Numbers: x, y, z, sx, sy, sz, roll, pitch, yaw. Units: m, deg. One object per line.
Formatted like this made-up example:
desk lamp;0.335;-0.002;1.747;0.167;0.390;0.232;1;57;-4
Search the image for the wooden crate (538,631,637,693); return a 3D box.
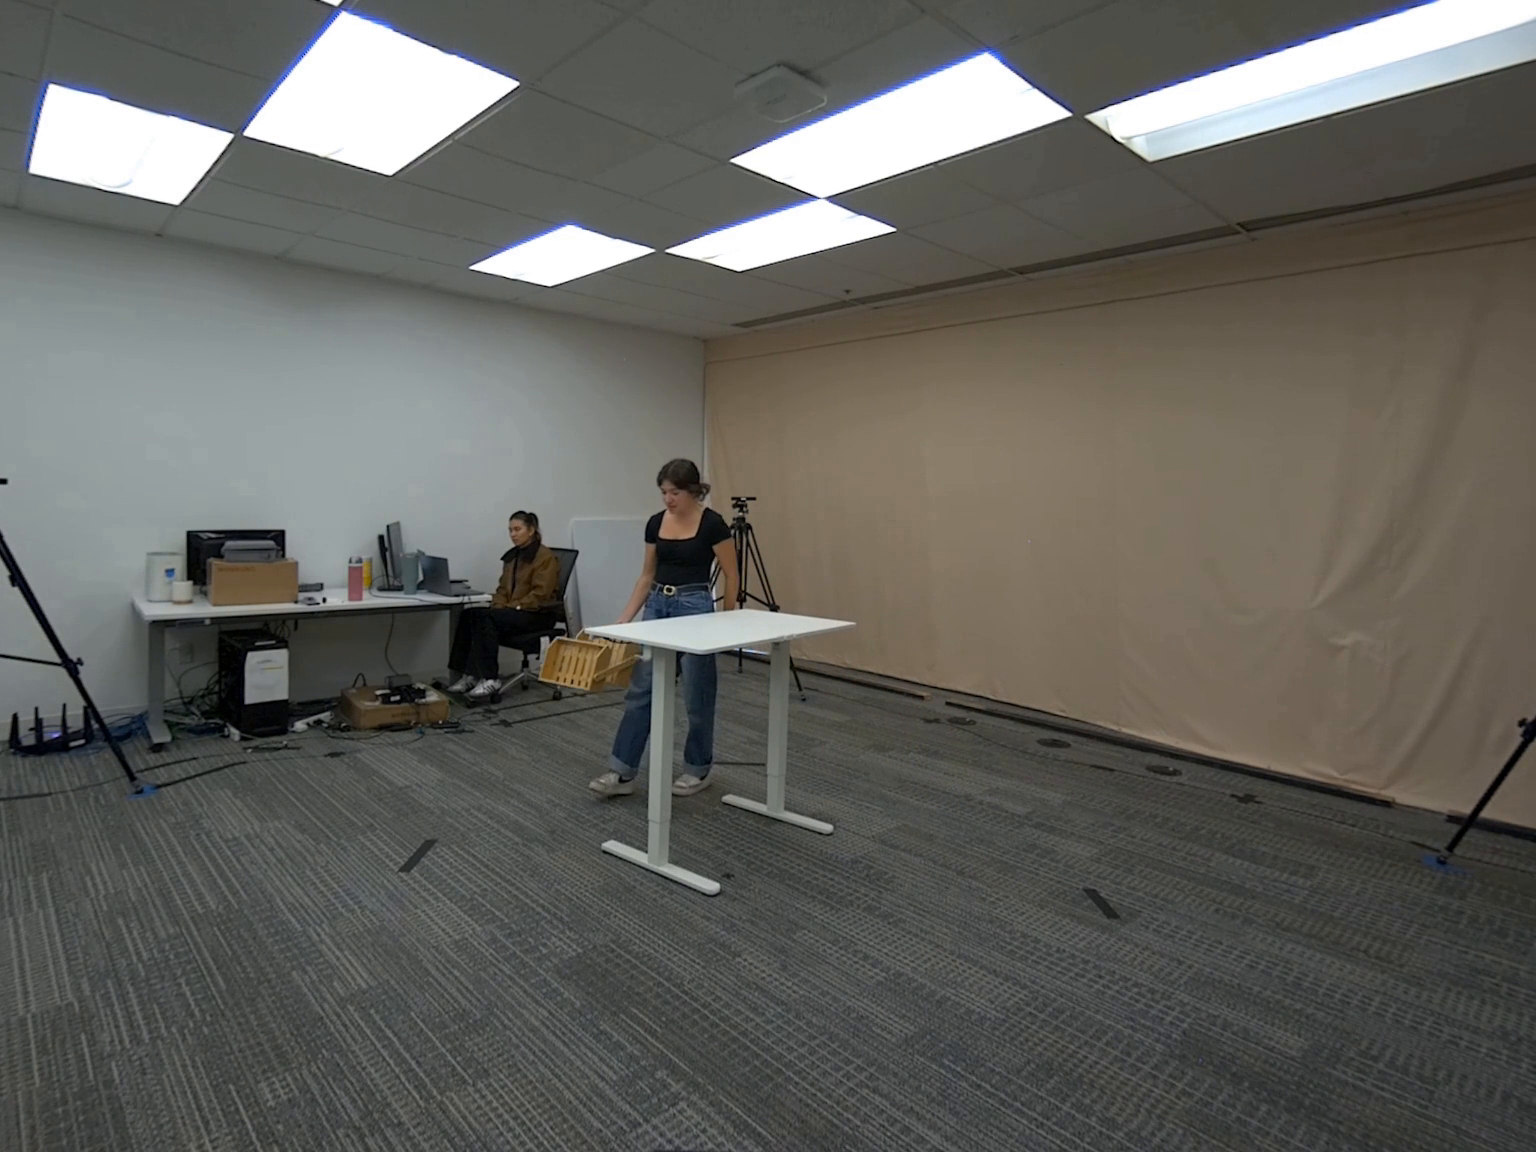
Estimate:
wooden crate;-0.831;0.372;3.803;0.331;0.305;0.265;4;-17;27
